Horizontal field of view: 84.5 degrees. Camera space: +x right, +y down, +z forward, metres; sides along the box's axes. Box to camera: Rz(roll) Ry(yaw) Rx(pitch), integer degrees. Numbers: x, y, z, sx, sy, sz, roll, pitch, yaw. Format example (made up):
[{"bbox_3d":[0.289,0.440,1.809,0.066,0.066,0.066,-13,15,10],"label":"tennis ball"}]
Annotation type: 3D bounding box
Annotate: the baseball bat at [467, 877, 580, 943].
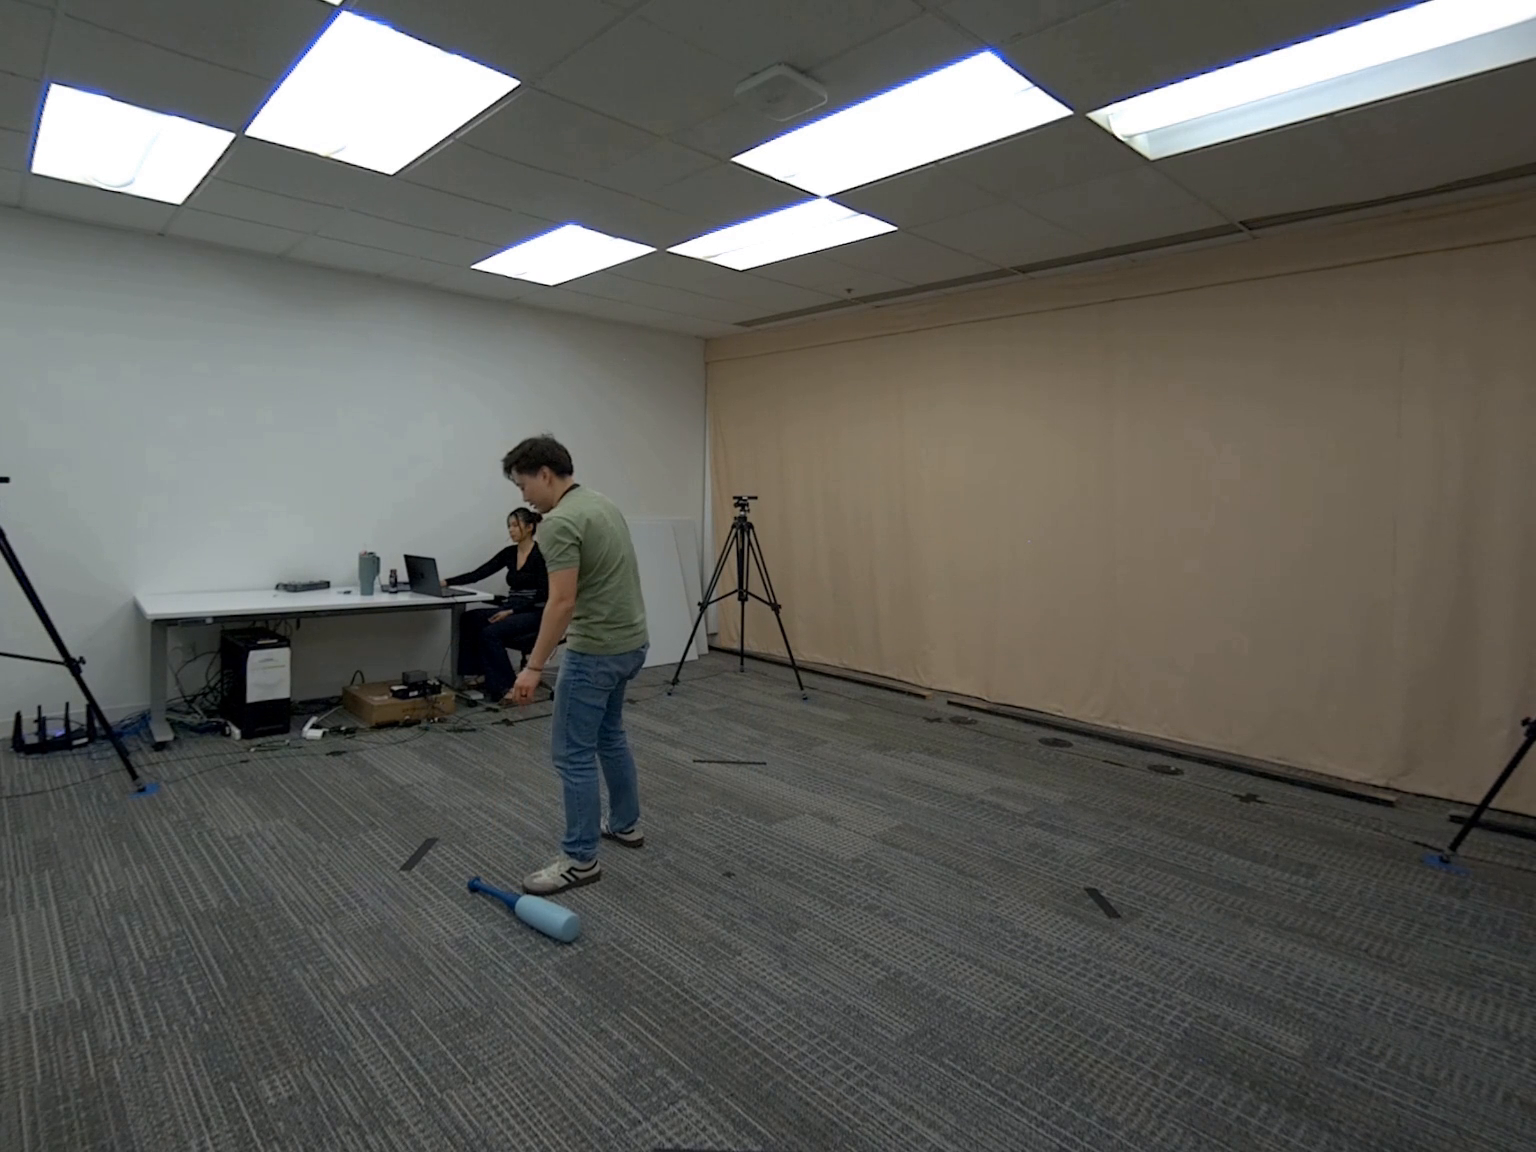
[{"bbox_3d":[-0.825,1.086,2.763,0.556,0.089,0.087,2,4,40],"label":"baseball bat"}]
